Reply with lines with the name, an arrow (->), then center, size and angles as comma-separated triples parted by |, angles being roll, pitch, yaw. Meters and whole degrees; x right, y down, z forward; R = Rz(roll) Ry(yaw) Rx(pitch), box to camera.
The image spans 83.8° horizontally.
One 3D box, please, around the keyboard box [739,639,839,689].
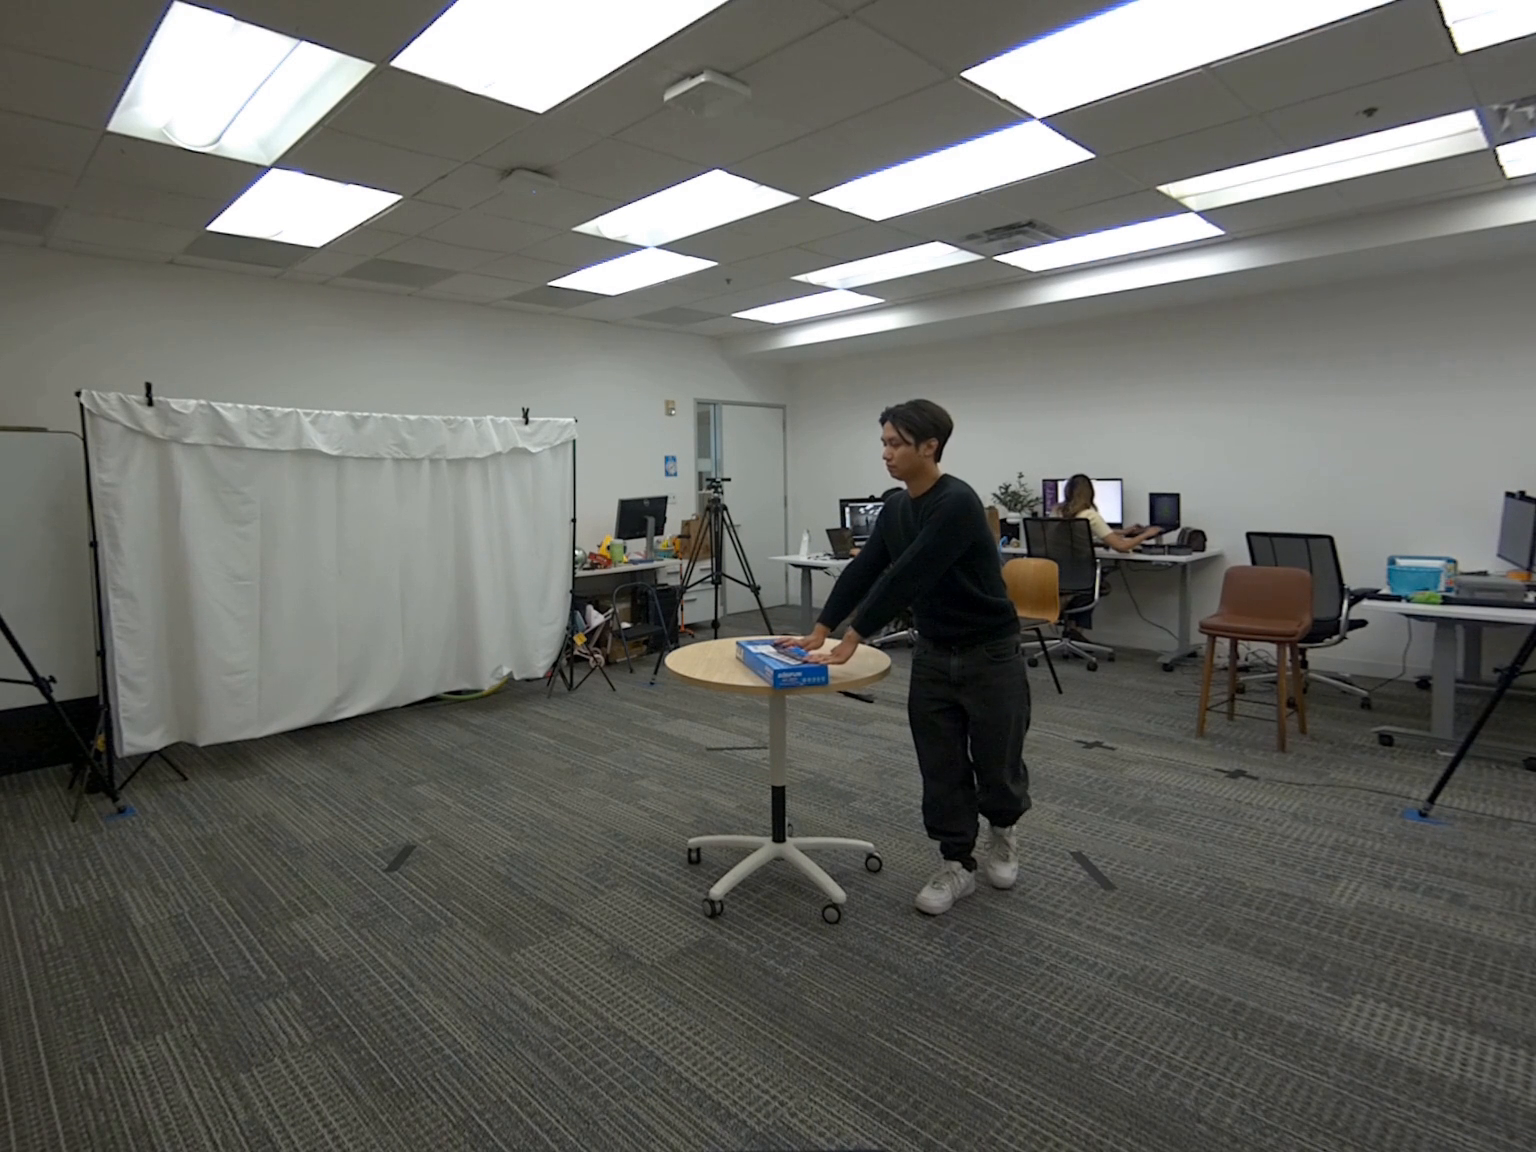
keyboard box -> 0.055, 0.273, 2.737 | 0.173, 0.059, 0.445 | -3, 7, -18
